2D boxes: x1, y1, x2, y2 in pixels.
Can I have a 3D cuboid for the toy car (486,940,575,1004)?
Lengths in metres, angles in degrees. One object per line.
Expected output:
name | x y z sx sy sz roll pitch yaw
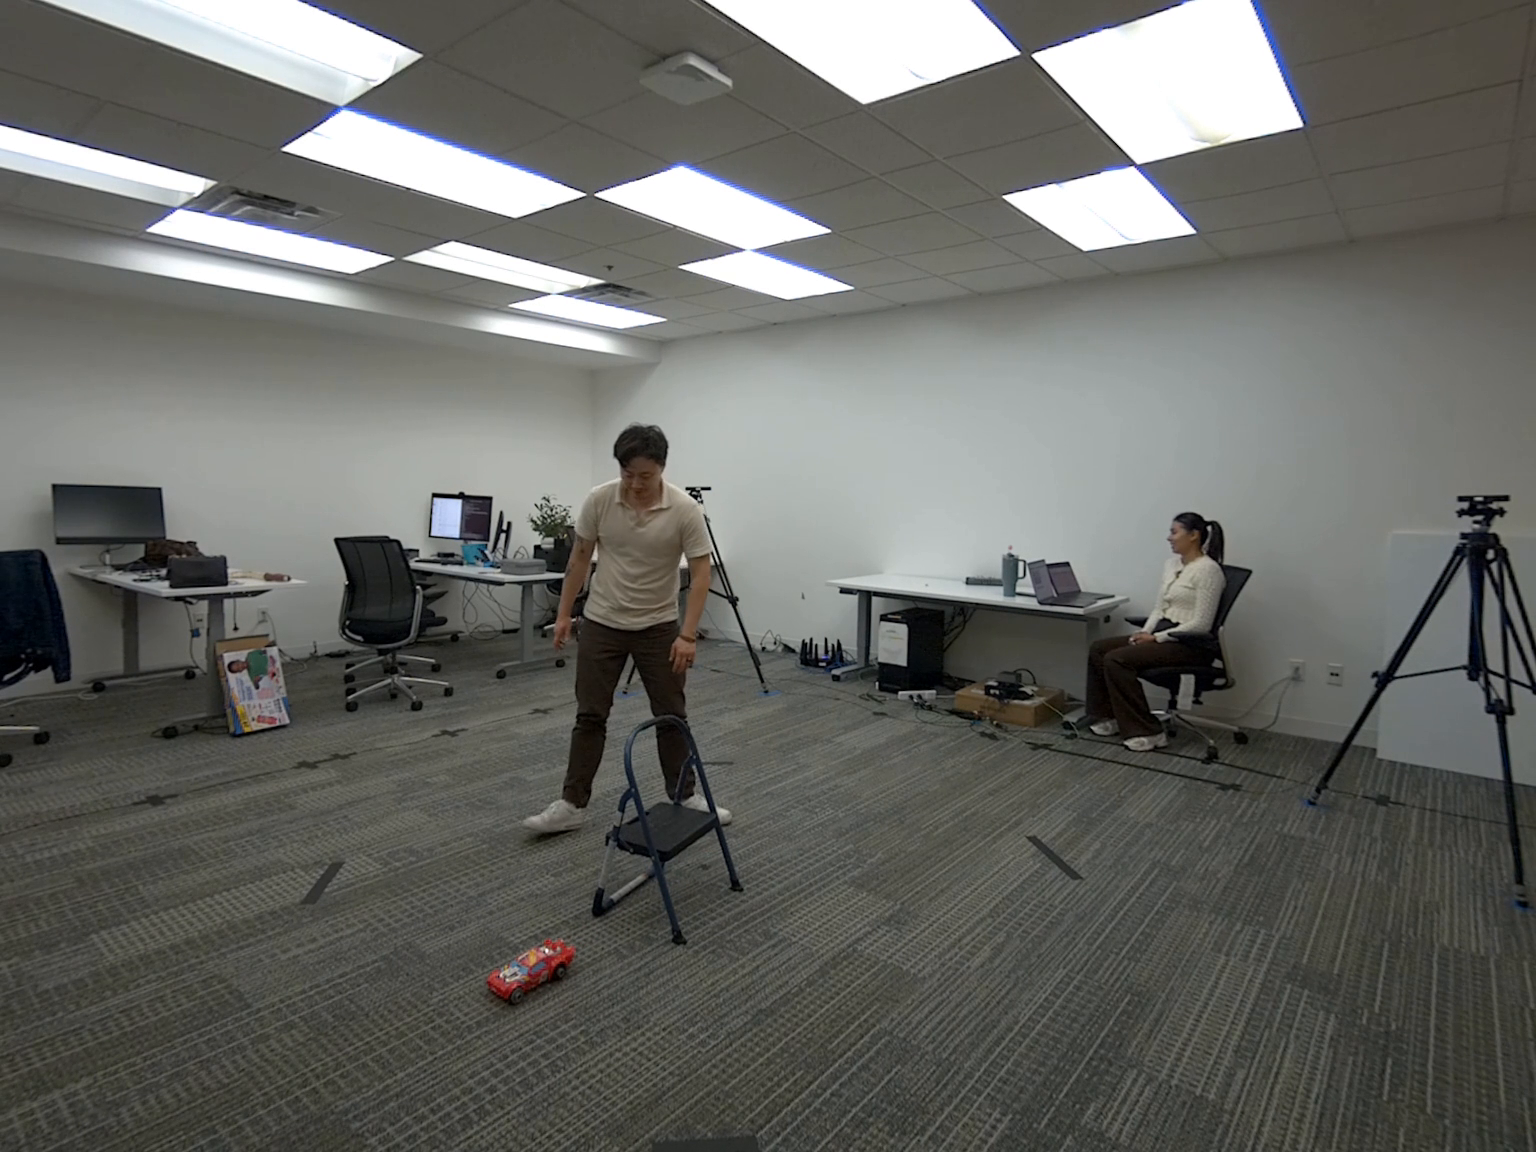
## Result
toy car | -0.666 1.099 2.384 0.135 0.082 0.249 5 18 40
